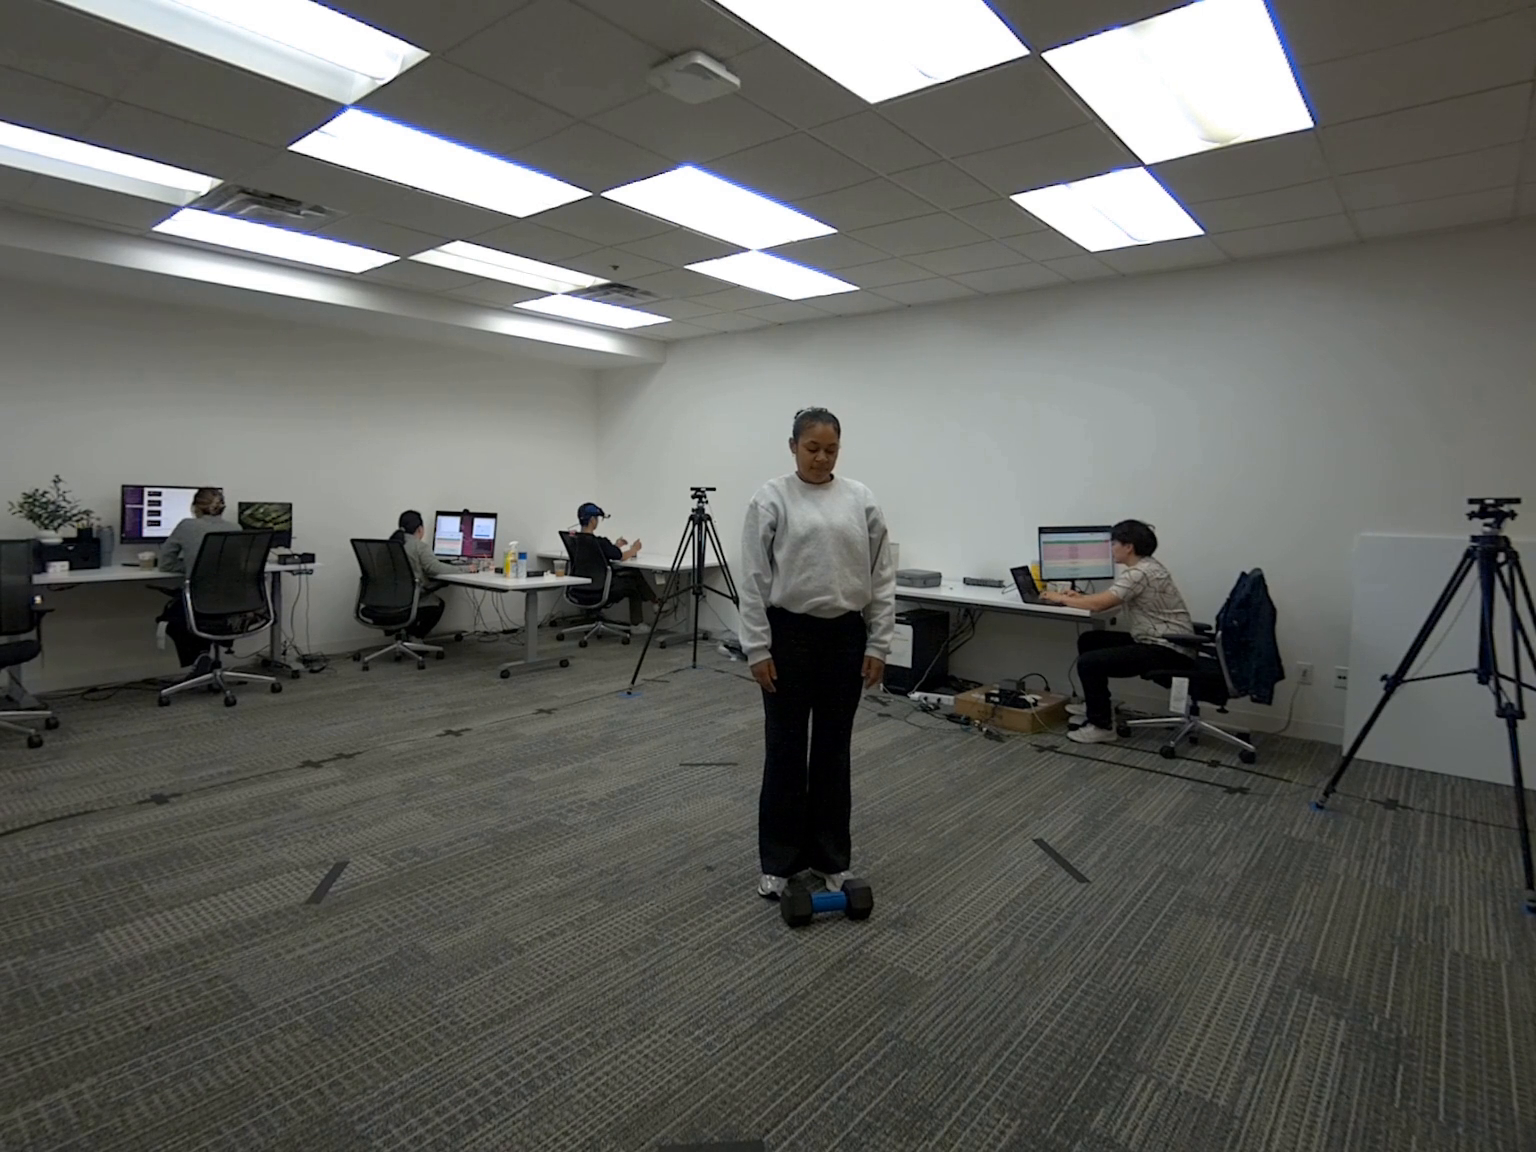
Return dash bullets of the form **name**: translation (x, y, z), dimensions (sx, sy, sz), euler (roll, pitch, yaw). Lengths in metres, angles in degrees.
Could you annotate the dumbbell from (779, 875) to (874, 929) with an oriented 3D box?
- **dumbbell**: translation (0.187, 1.052, 2.763), dimensions (0.289, 0.108, 0.125), euler (0, 6, -16)
